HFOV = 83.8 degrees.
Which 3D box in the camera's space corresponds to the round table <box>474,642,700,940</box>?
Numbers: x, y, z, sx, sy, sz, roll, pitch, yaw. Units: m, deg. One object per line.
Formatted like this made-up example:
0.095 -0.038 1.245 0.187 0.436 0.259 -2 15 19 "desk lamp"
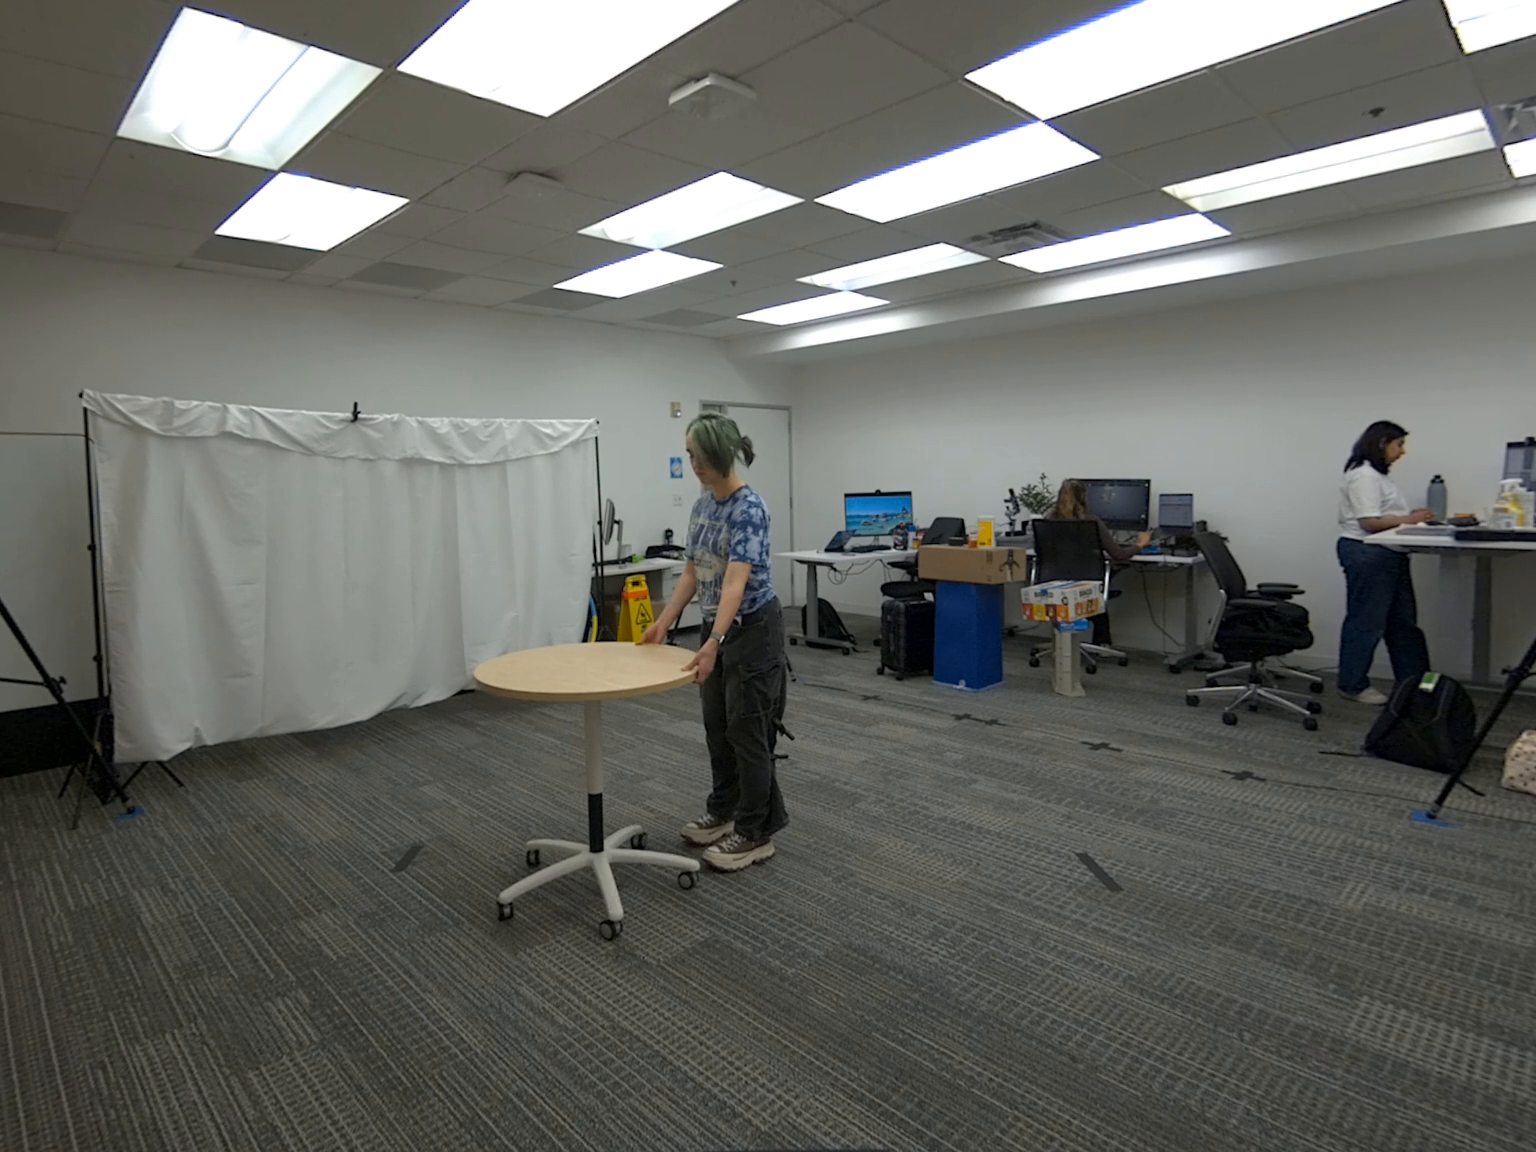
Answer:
-0.581 0.690 2.905 0.763 0.791 0.768 -1 5 -2 "round table"
